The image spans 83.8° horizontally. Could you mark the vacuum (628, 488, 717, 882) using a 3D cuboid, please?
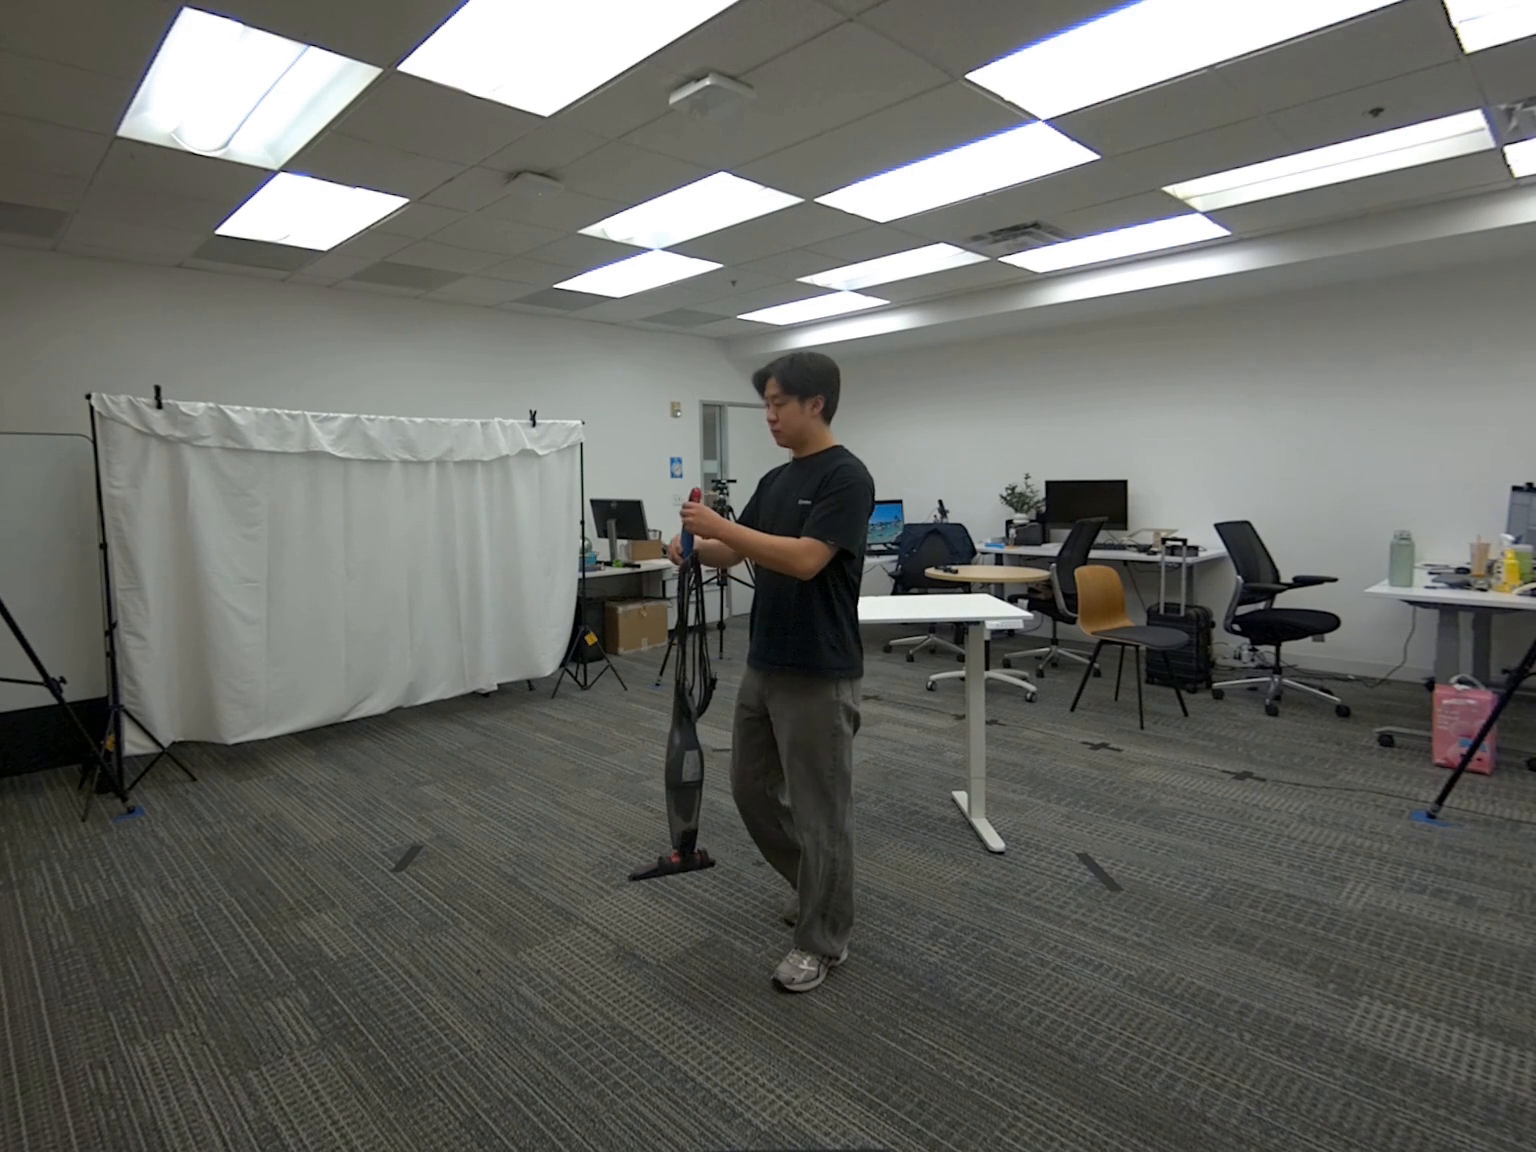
[{"bbox_3d":[-0.213,0.301,2.325,0.246,1.045,0.148,0,5,-32],"label":"vacuum"}]
